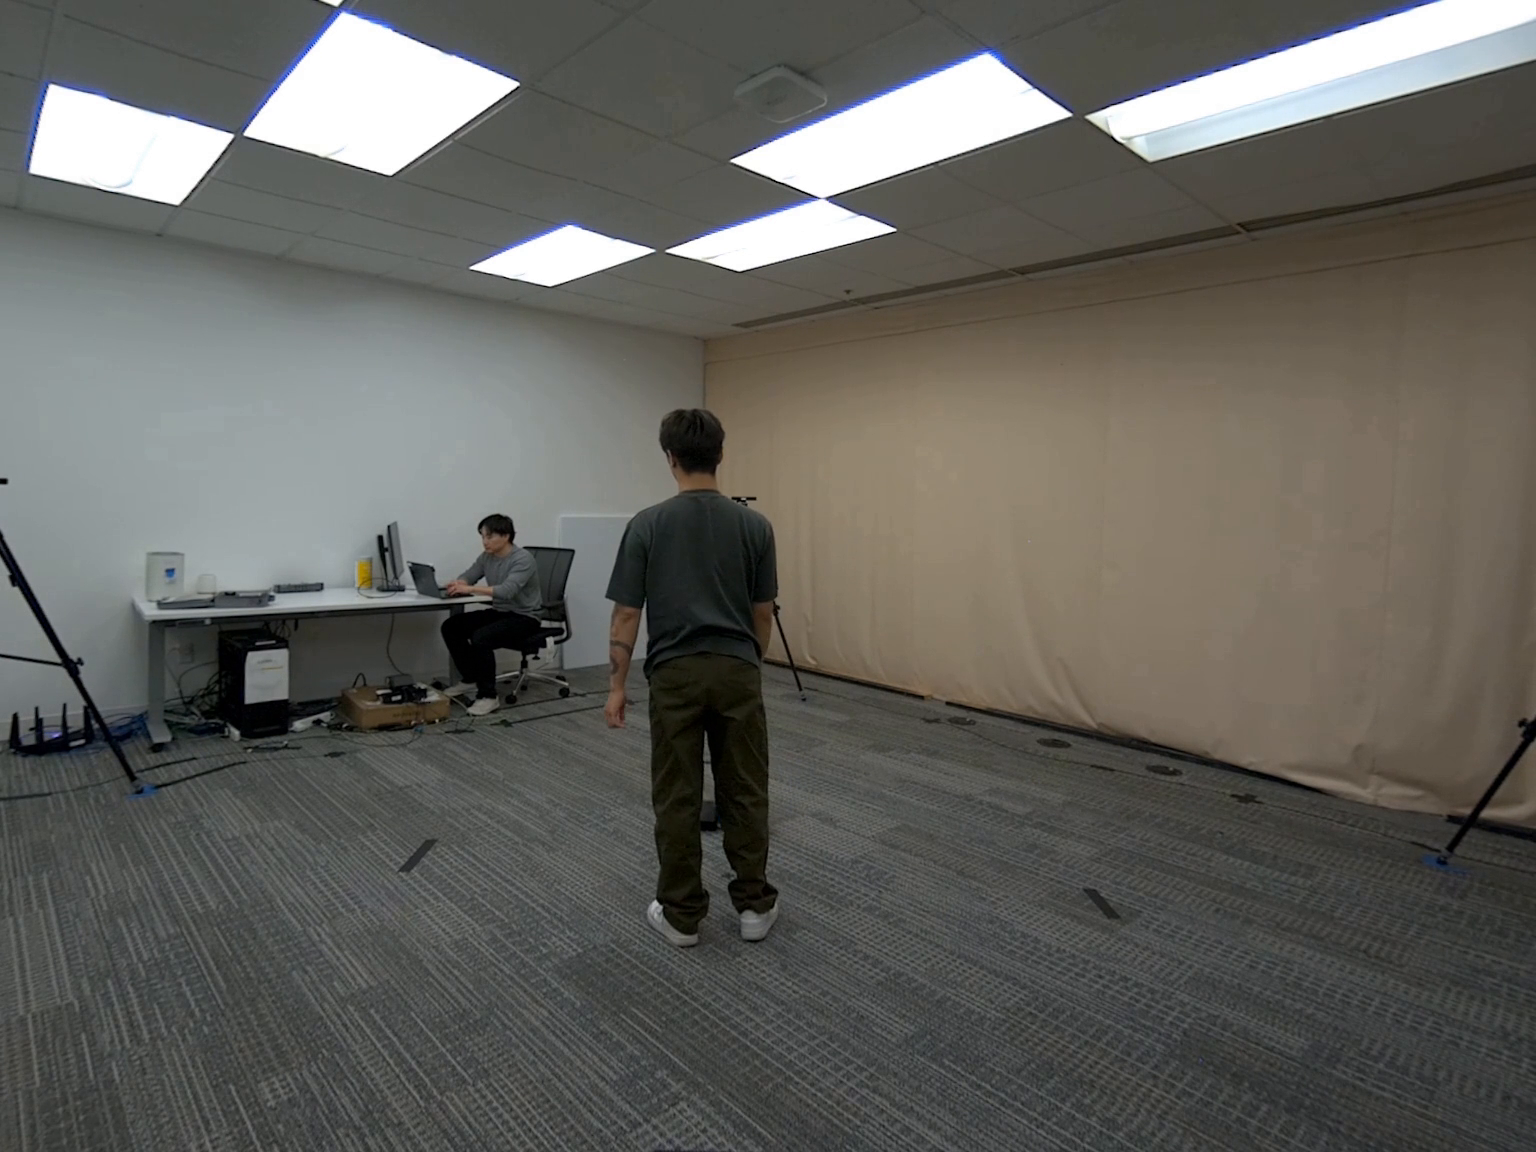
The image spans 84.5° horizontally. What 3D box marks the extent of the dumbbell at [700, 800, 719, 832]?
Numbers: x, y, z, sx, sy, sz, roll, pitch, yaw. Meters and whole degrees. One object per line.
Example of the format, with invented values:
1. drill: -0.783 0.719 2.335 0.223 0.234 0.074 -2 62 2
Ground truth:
1. dumbbell: -0.154 1.019 3.544 0.294 0.125 0.106 2 -26 4
